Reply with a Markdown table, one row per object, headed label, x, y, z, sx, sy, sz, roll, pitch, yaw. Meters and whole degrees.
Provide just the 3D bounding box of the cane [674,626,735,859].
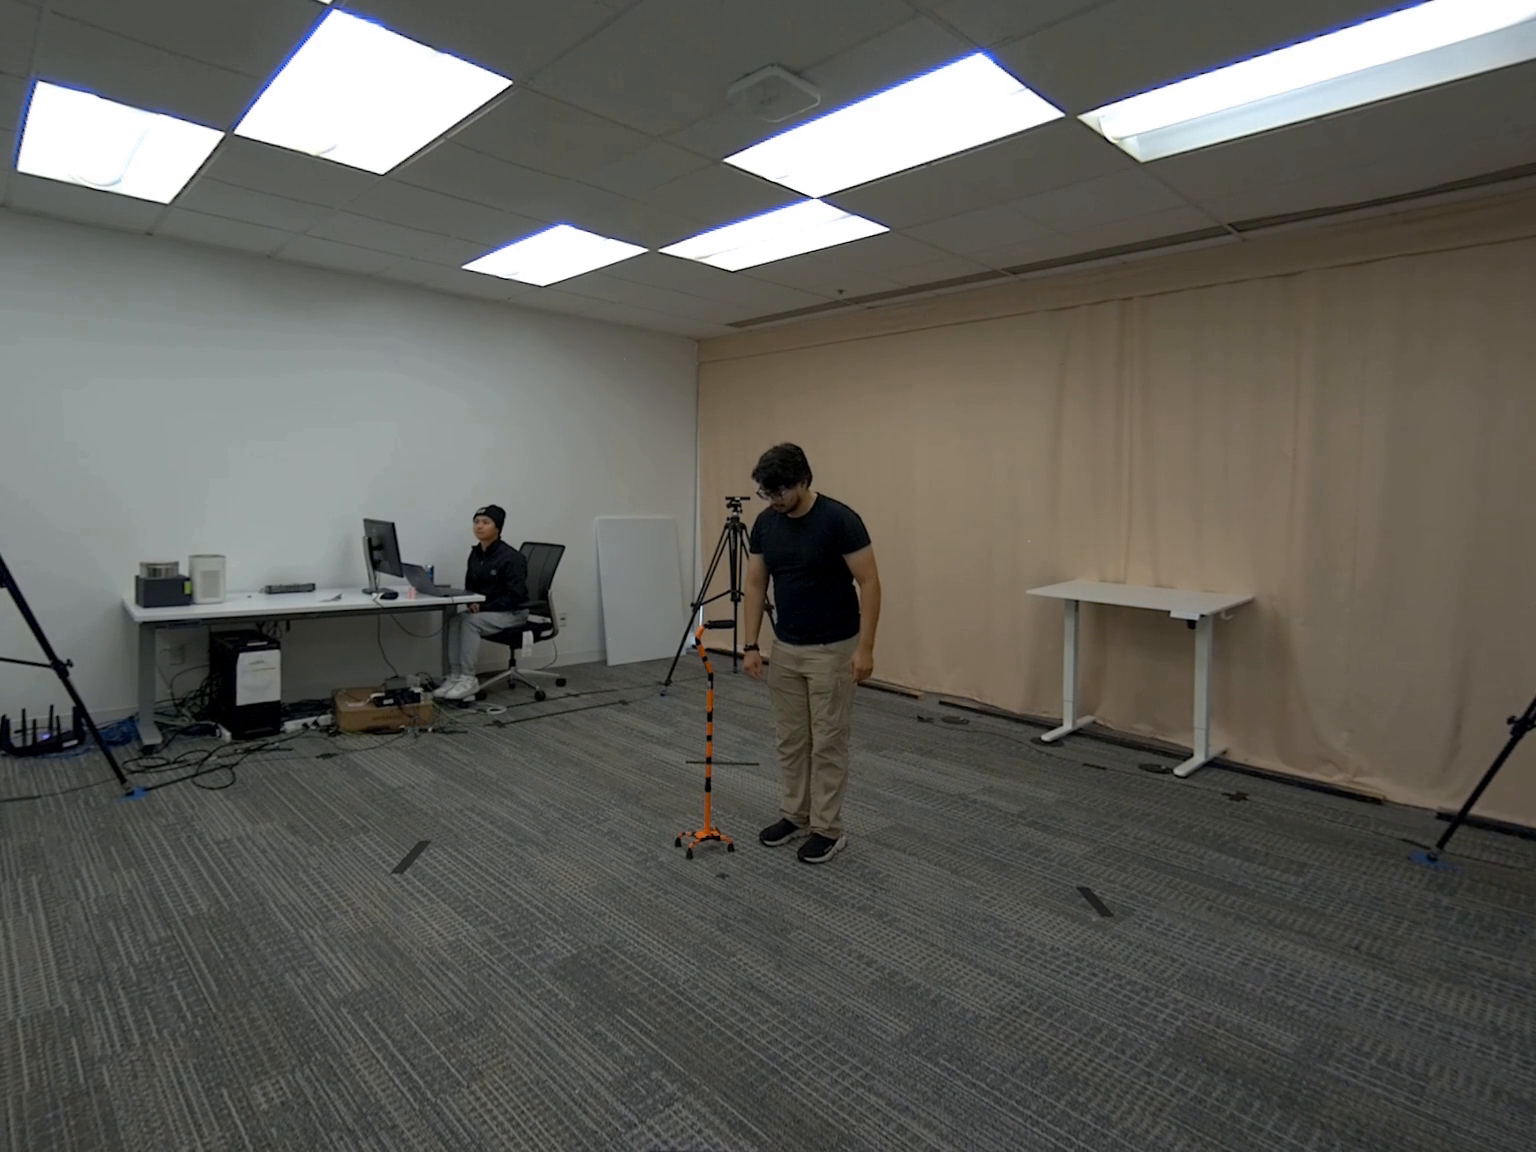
| label | x | y | z | sx | sy | sz | roll | pitch | yaw |
| --- | --- | --- | --- | --- | --- | --- | --- | --- | --- |
| cane | -0.244 | 0.638 | 3.326 | 0.203 | 0.906 | 0.154 | 1 | 3 | -25 |
